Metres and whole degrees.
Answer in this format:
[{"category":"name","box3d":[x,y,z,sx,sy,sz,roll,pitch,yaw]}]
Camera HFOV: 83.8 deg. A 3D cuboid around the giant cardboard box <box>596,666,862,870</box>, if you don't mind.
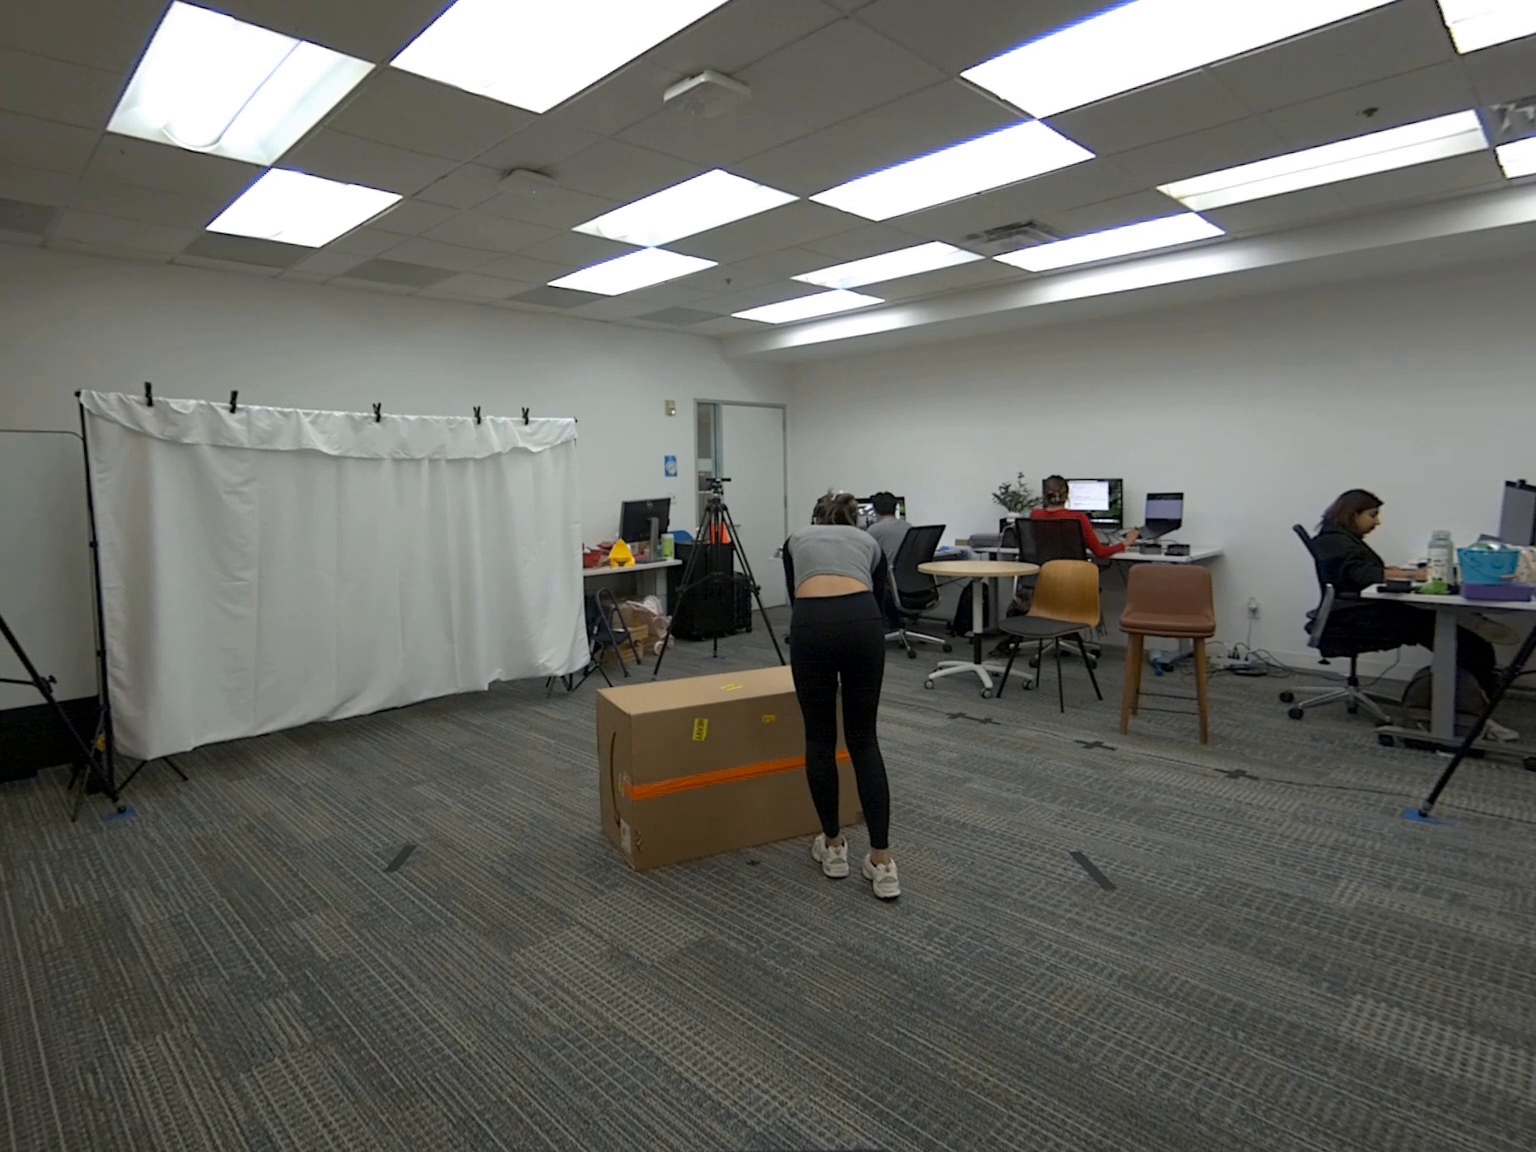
[{"category":"giant cardboard box","box3d":[-0.130,0.718,3.424,1.005,0.581,0.458,-4,6,-26]}]
